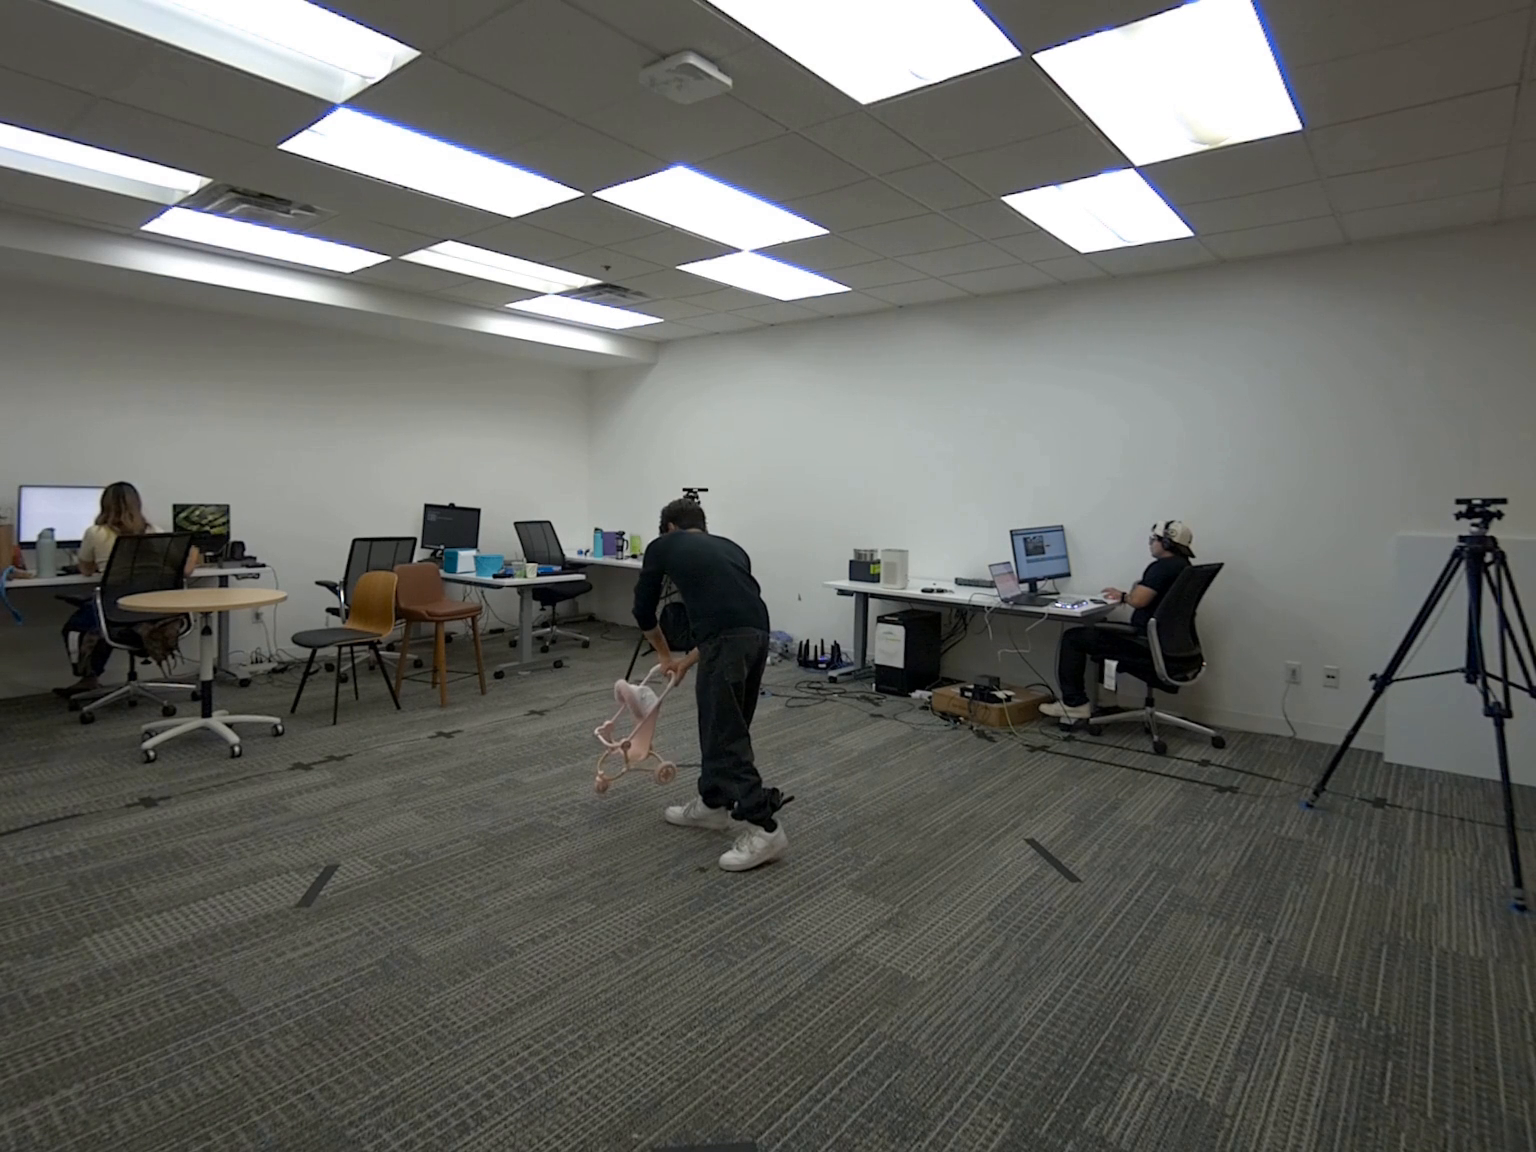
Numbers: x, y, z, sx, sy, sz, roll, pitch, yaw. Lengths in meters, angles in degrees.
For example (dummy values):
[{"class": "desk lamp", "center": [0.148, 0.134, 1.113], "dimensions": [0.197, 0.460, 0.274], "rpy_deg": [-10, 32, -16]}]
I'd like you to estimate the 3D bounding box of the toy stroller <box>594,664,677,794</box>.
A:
[{"class": "toy stroller", "center": [-0.610, 0.671, 3.692], "dimensions": [0.333, 0.529, 0.291], "rpy_deg": [-1, 14, -26]}]
